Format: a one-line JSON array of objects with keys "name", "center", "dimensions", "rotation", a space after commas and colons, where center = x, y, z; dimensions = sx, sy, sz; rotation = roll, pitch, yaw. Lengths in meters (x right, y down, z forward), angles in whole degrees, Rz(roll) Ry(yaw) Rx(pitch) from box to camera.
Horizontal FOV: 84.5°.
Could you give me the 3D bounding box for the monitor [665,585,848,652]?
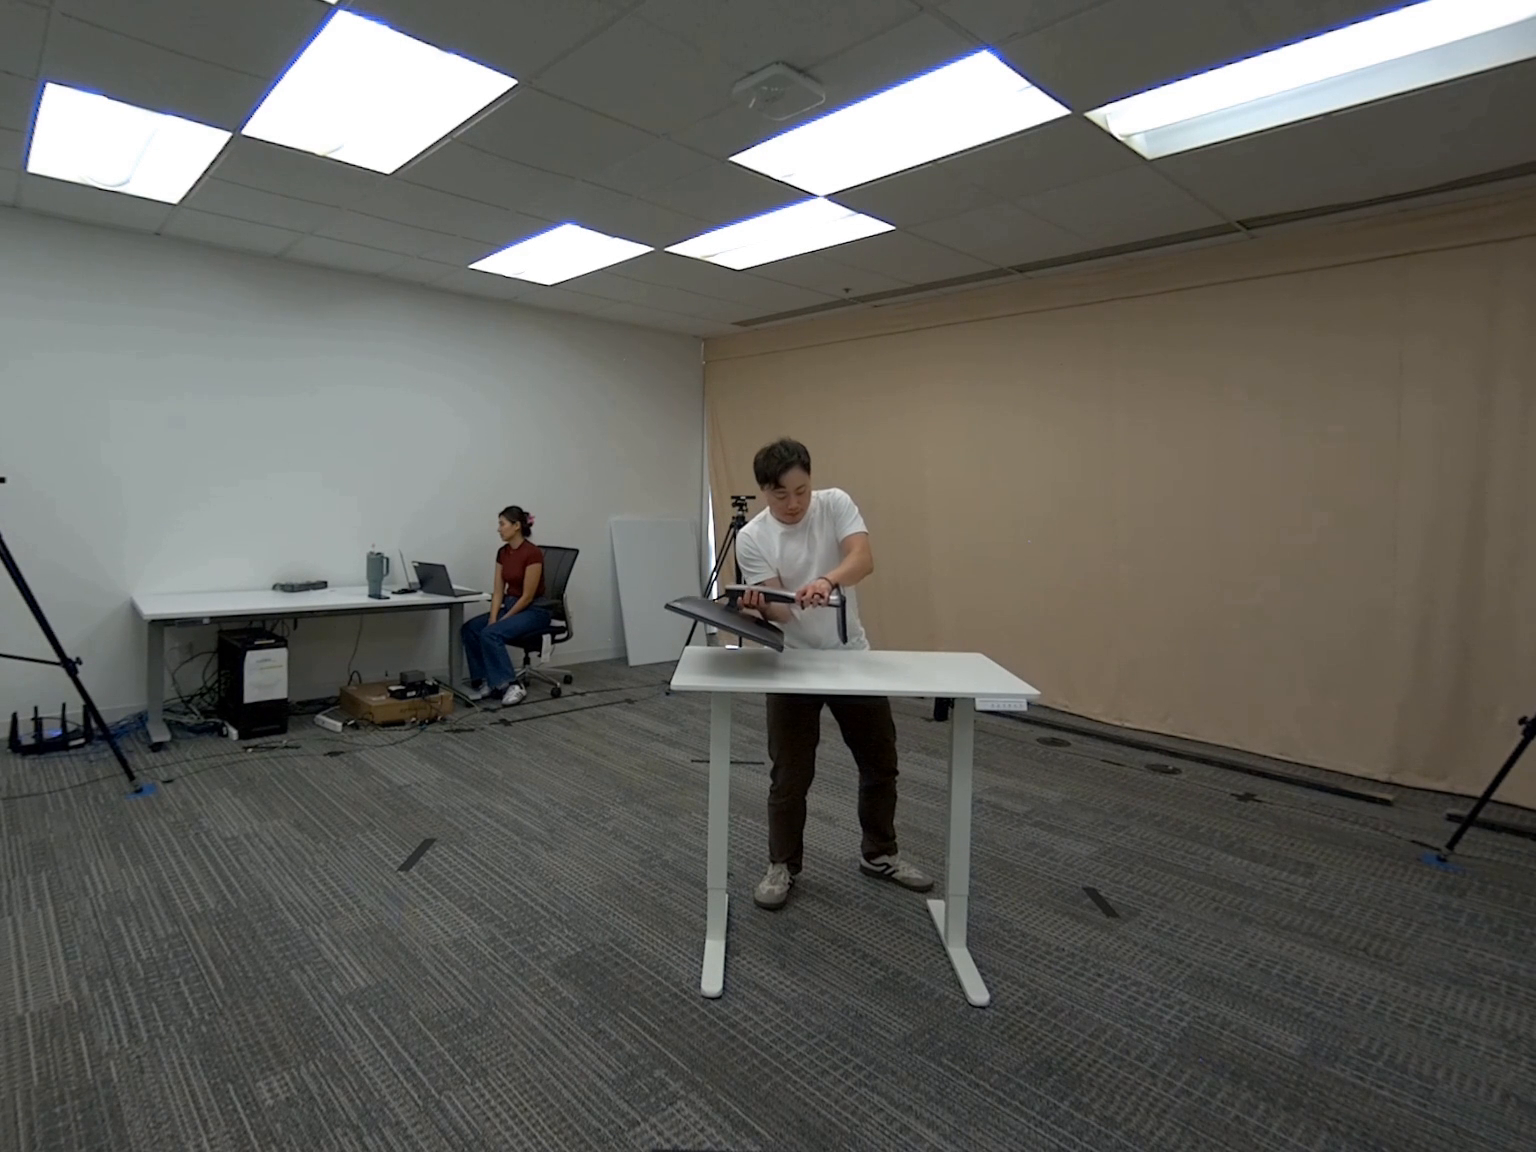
[{"name": "monitor", "center": [-0.021, 0.118, 2.586], "dimensions": [0.524, 0.187, 0.536], "rotation": [3, -2, 3]}]
